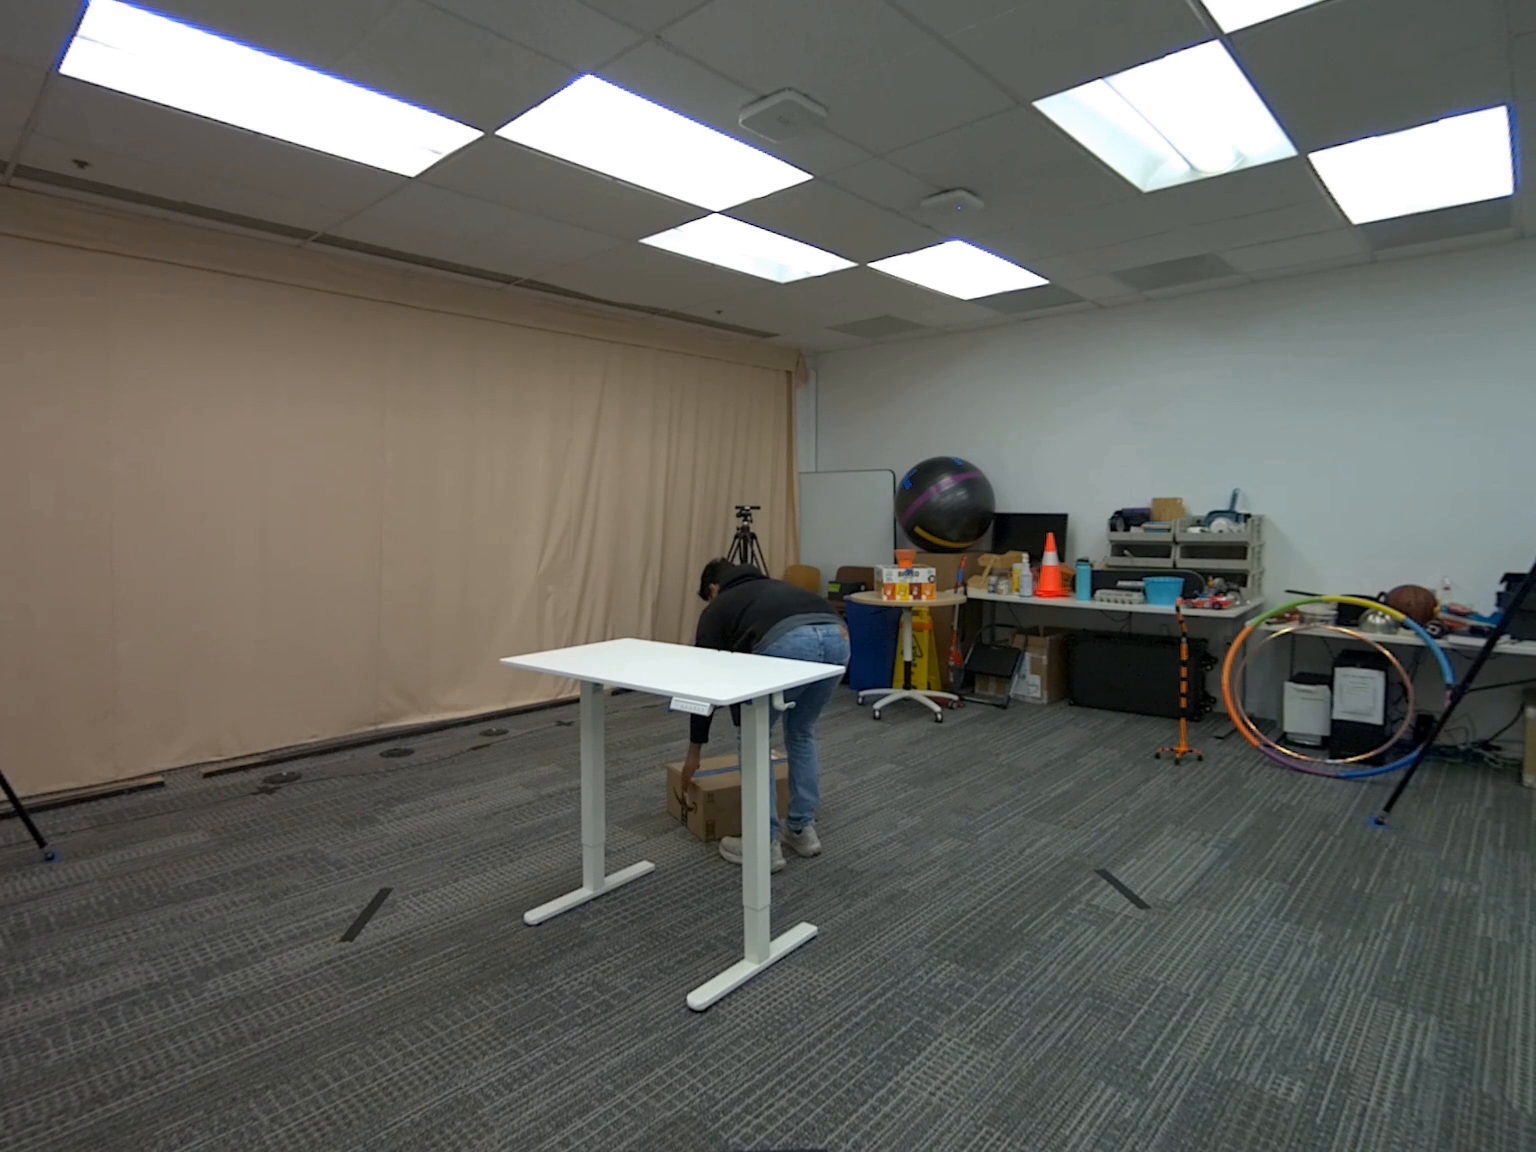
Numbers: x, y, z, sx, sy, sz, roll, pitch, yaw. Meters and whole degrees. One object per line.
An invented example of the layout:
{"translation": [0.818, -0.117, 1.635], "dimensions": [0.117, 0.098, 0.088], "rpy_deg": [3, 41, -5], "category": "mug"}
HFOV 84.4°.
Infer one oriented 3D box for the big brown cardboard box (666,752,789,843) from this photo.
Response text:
{"translation": [-0.116, 0.968, 3.789], "dimensions": [0.574, 0.233, 0.429], "rpy_deg": [-3, 4, -27], "category": "big brown cardboard box"}
